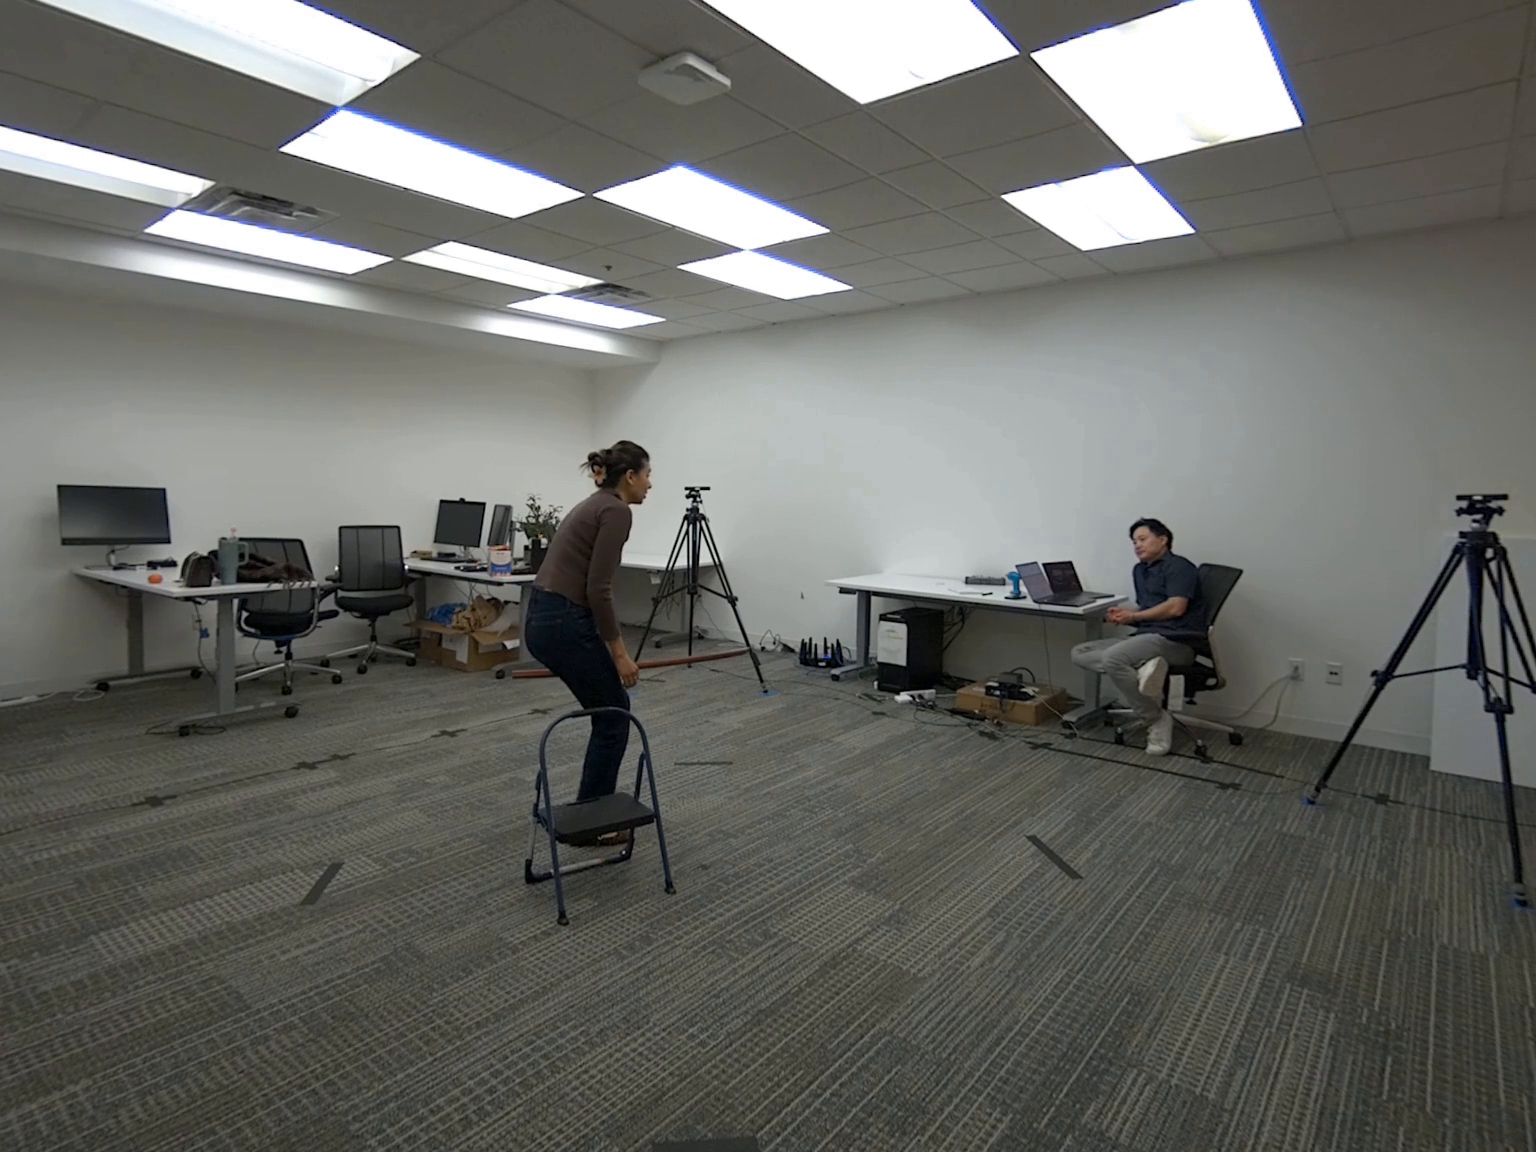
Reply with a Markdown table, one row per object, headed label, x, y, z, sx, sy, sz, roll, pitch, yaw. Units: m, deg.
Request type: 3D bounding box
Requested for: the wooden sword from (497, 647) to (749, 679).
| label | x | y | z | sx | sy | sz | roll | pitch | yaw |
| --- | --- | --- | --- | --- | --- | --- | --- | --- | --- |
| wooden sword | -0.627 | 0.390 | 3.690 | 1.016 | 0.051 | 0.024 | -4 | -6 | -8 |
